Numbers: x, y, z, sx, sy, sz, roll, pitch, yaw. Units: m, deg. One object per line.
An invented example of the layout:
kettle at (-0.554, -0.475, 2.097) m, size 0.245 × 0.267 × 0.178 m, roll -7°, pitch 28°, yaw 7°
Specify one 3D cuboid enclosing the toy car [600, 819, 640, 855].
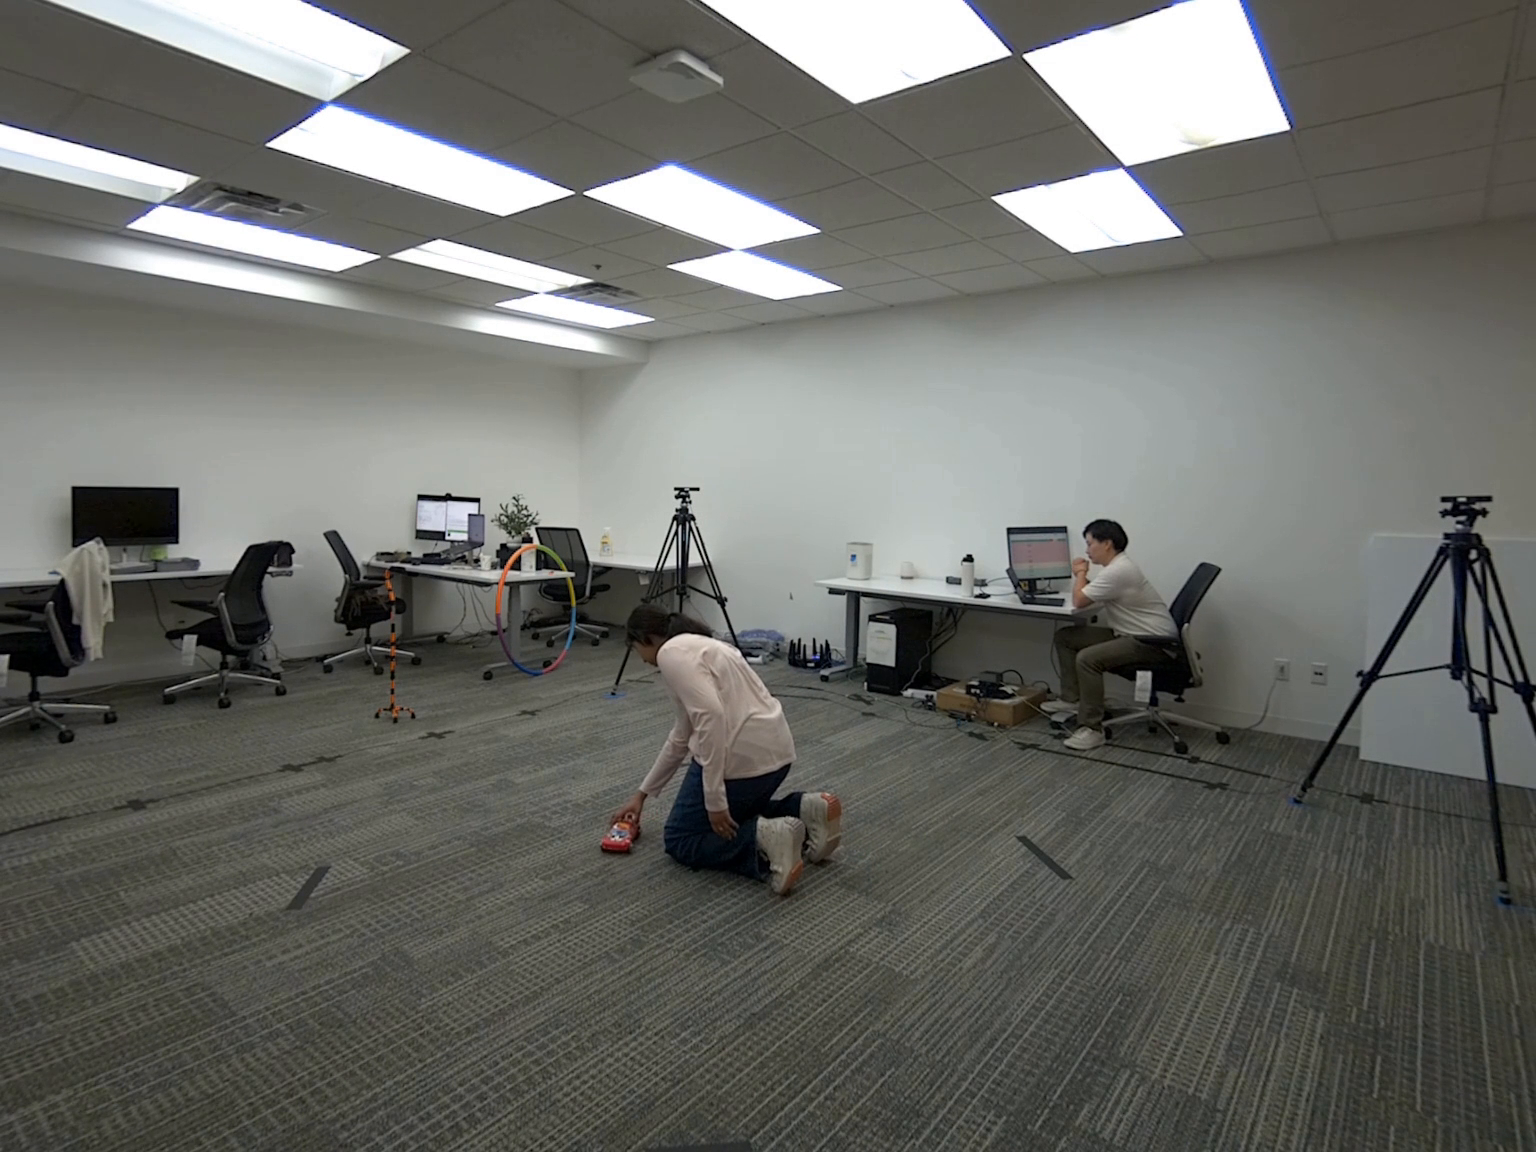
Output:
toy car at (-0.579, 1.010, 3.337) m, size 0.131 × 0.082 × 0.256 m, roll 2°, pitch 15°, yaw 5°
